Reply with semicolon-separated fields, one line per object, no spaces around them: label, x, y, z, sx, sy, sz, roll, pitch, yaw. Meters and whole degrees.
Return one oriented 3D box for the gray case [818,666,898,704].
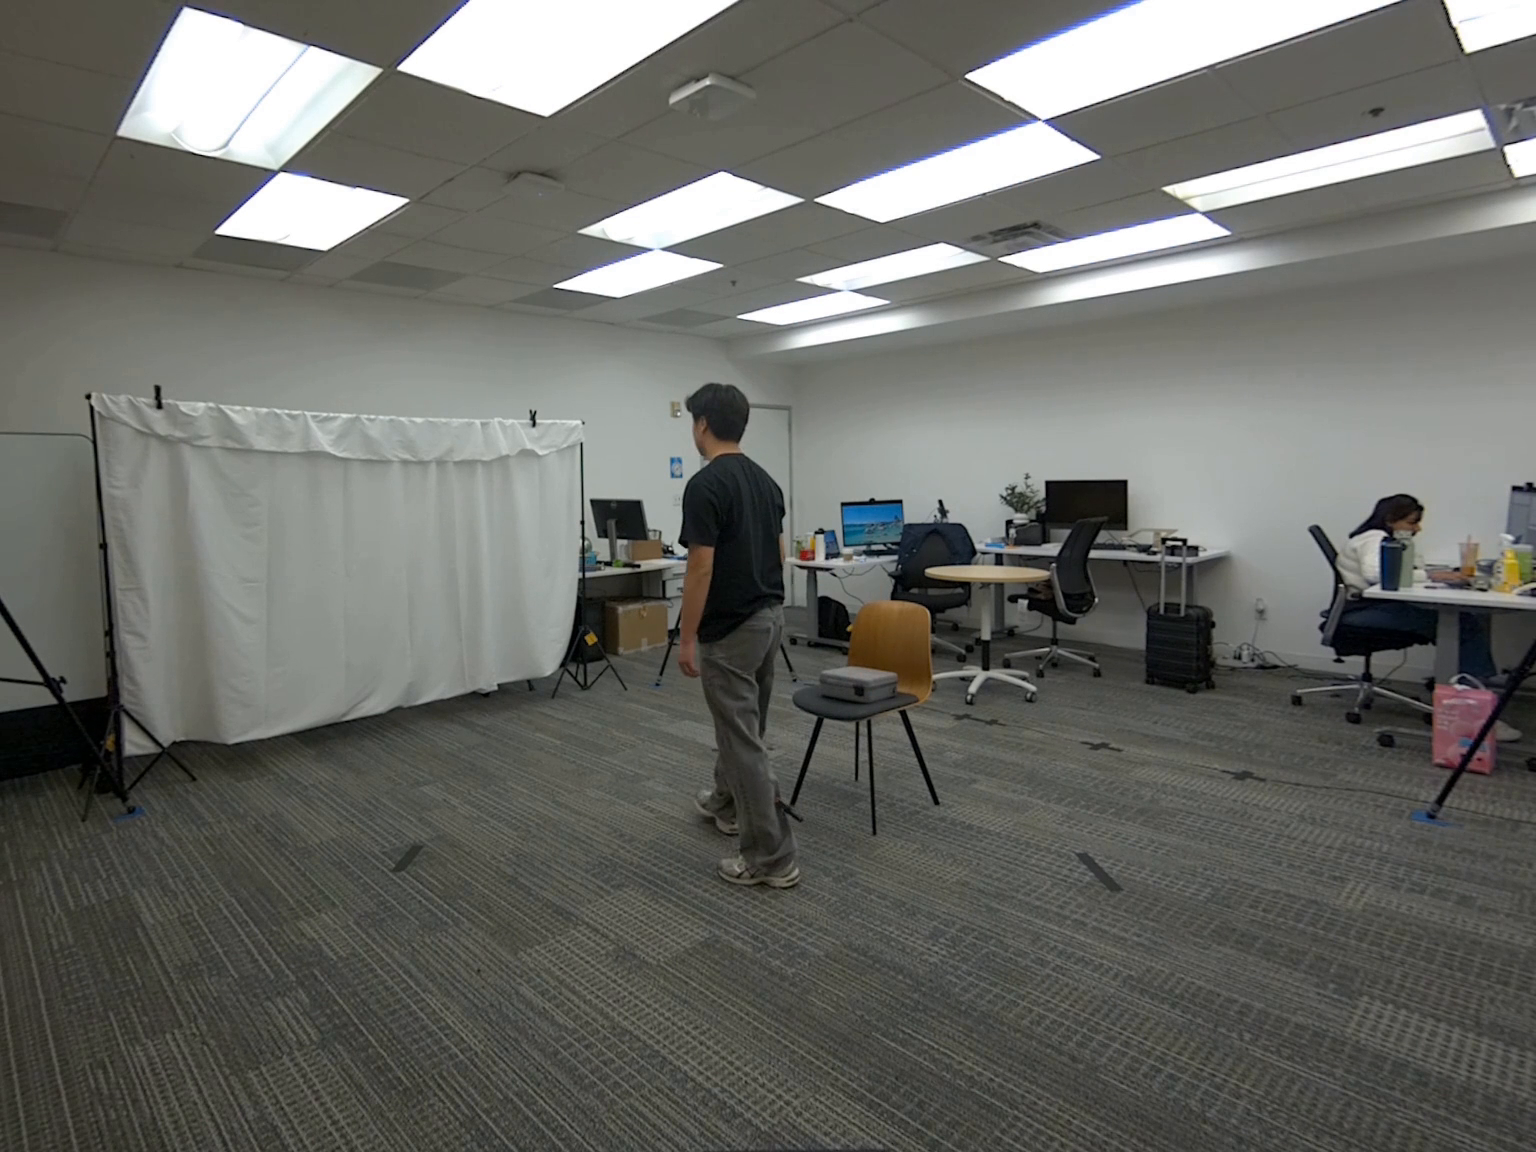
gray case;0.384;0.456;3.604;0.271;0.103;0.279;4;4;41
